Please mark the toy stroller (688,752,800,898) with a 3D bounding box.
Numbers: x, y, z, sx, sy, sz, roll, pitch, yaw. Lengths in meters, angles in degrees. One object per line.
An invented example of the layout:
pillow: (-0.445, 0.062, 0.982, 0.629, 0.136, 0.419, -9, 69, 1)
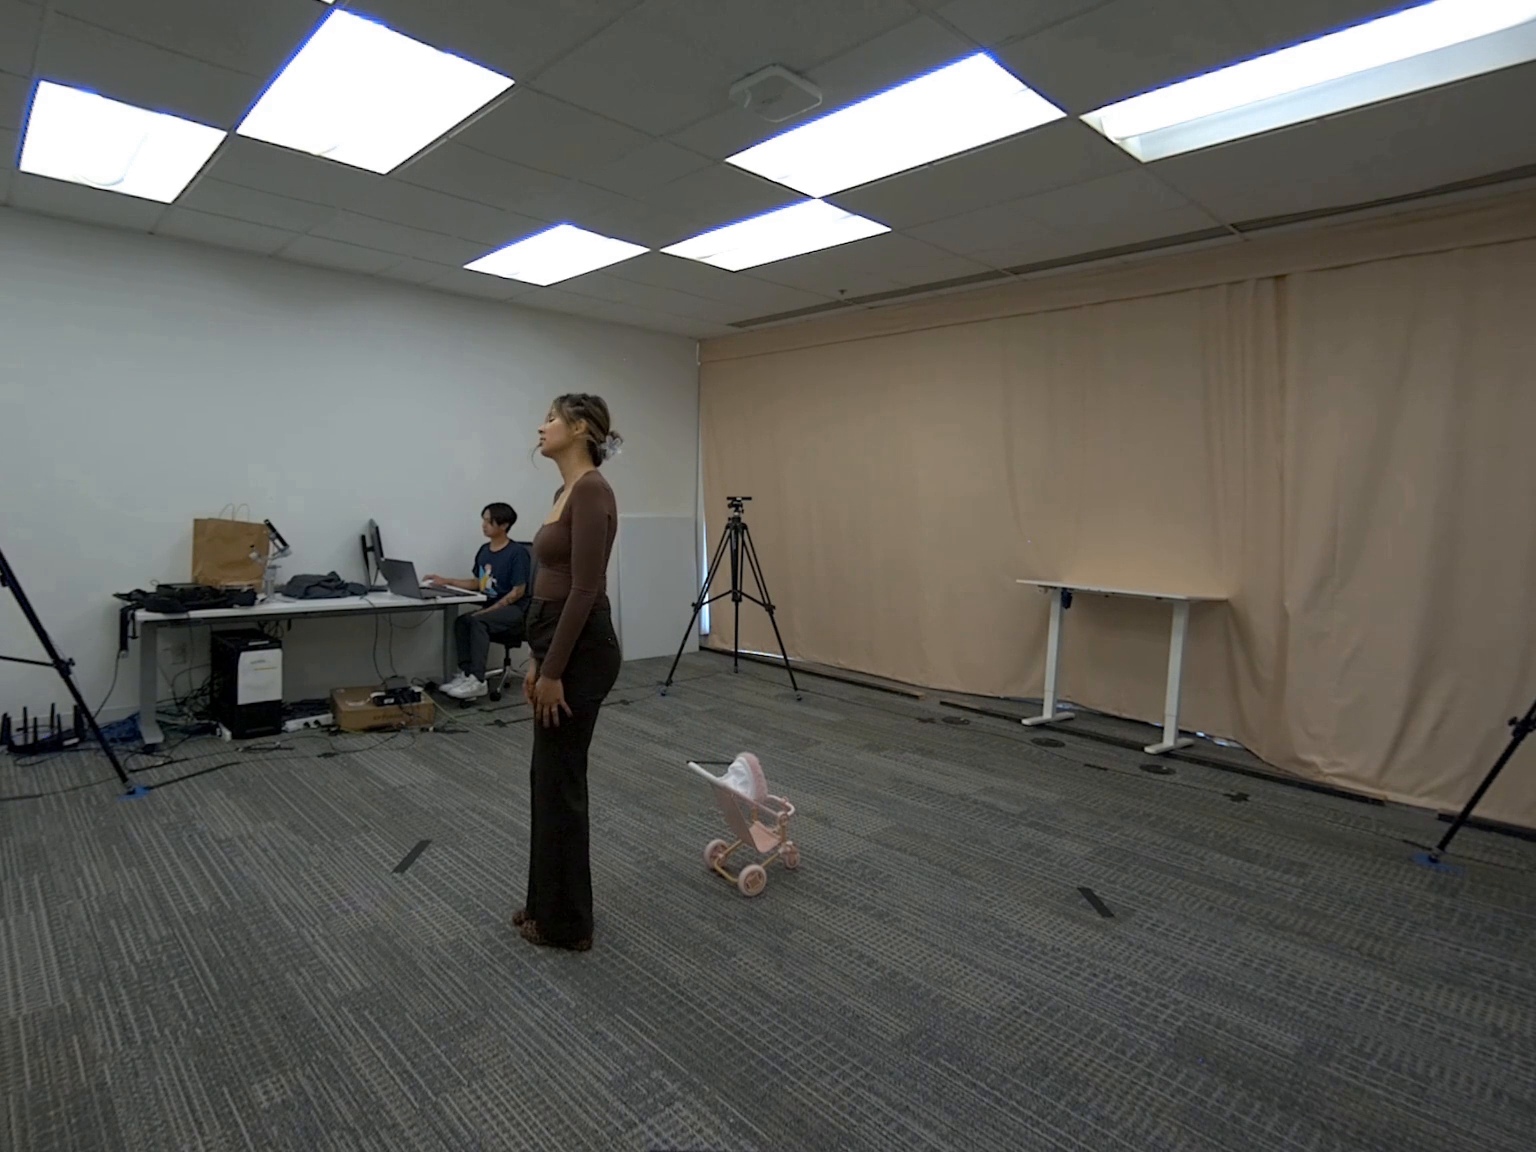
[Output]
toy stroller: (-0.071, 0.882, 3.075, 0.337, 0.530, 0.287, -17, 11, -26)
